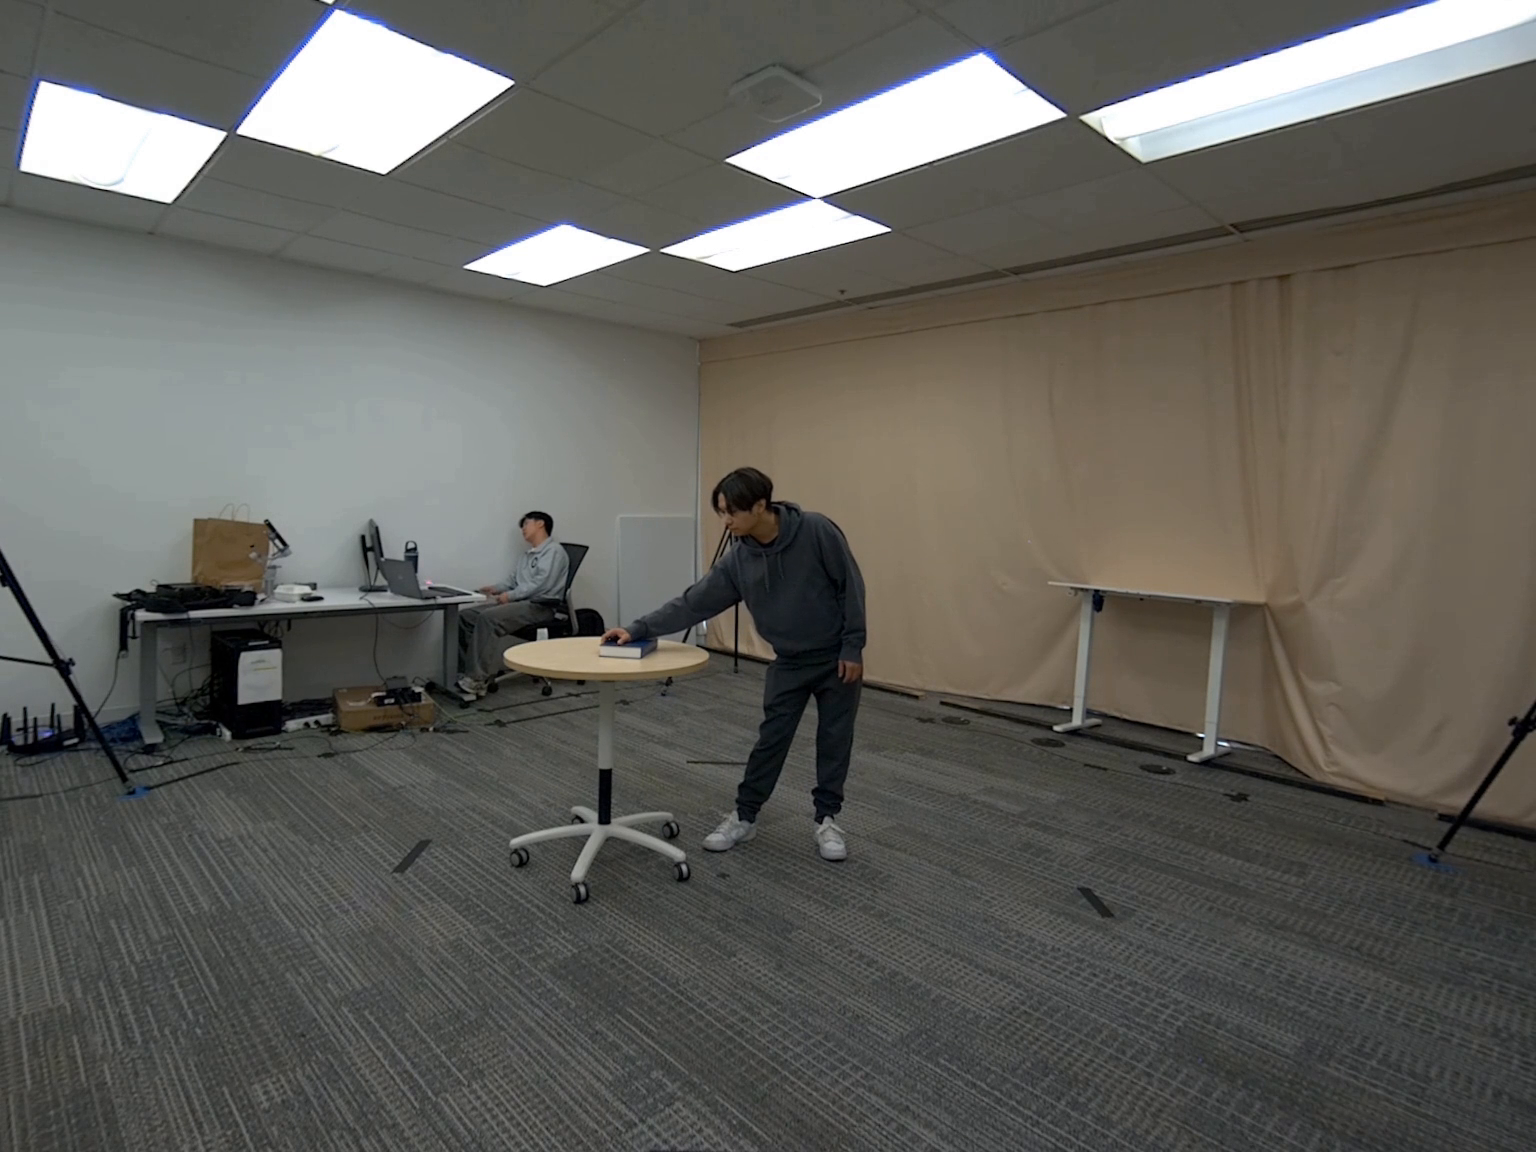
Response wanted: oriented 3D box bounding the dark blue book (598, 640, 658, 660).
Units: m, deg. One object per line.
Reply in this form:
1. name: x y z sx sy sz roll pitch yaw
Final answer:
1. dark blue book: -0.528 0.273 3.198 0.164 0.045 0.244 1 4 7
